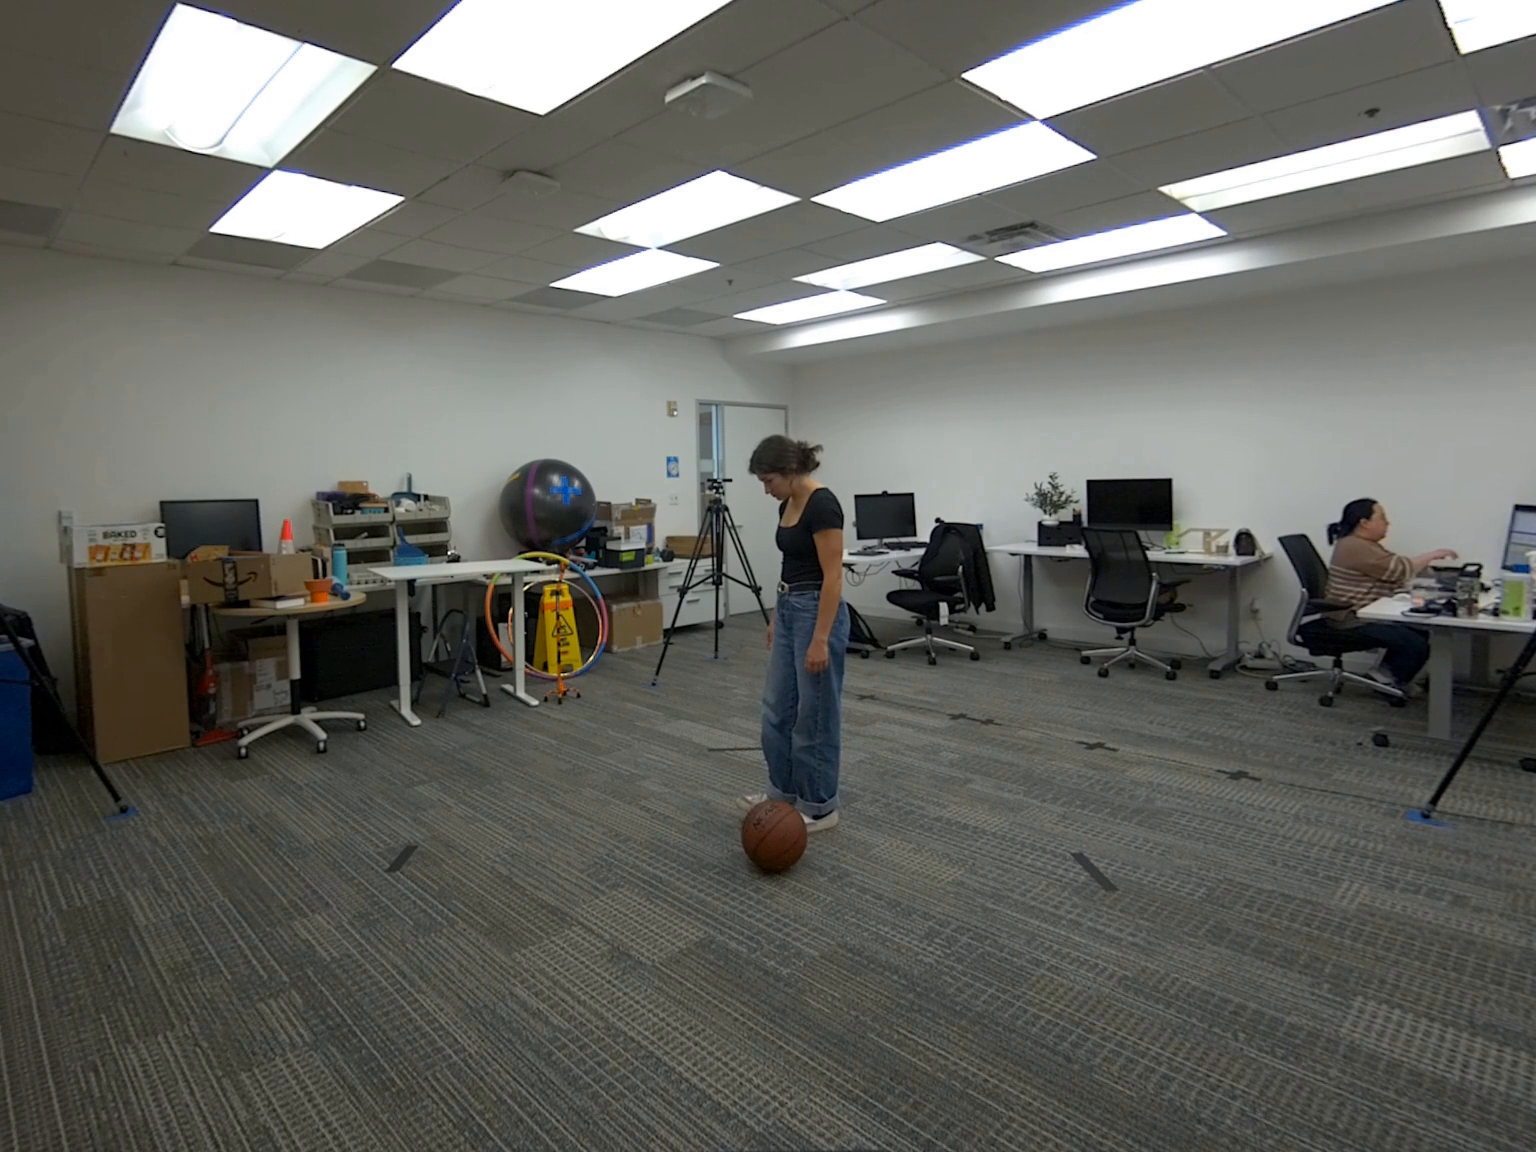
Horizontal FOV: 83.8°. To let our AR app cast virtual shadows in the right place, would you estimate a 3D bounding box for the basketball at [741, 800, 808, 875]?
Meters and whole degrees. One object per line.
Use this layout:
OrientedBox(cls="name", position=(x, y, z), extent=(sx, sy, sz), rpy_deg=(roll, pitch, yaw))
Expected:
OrientedBox(cls="basketball", position=(0.025, 0.925, 3.066), extent=(0.236, 0.235, 0.237), rpy_deg=(-1, 5, -2))
